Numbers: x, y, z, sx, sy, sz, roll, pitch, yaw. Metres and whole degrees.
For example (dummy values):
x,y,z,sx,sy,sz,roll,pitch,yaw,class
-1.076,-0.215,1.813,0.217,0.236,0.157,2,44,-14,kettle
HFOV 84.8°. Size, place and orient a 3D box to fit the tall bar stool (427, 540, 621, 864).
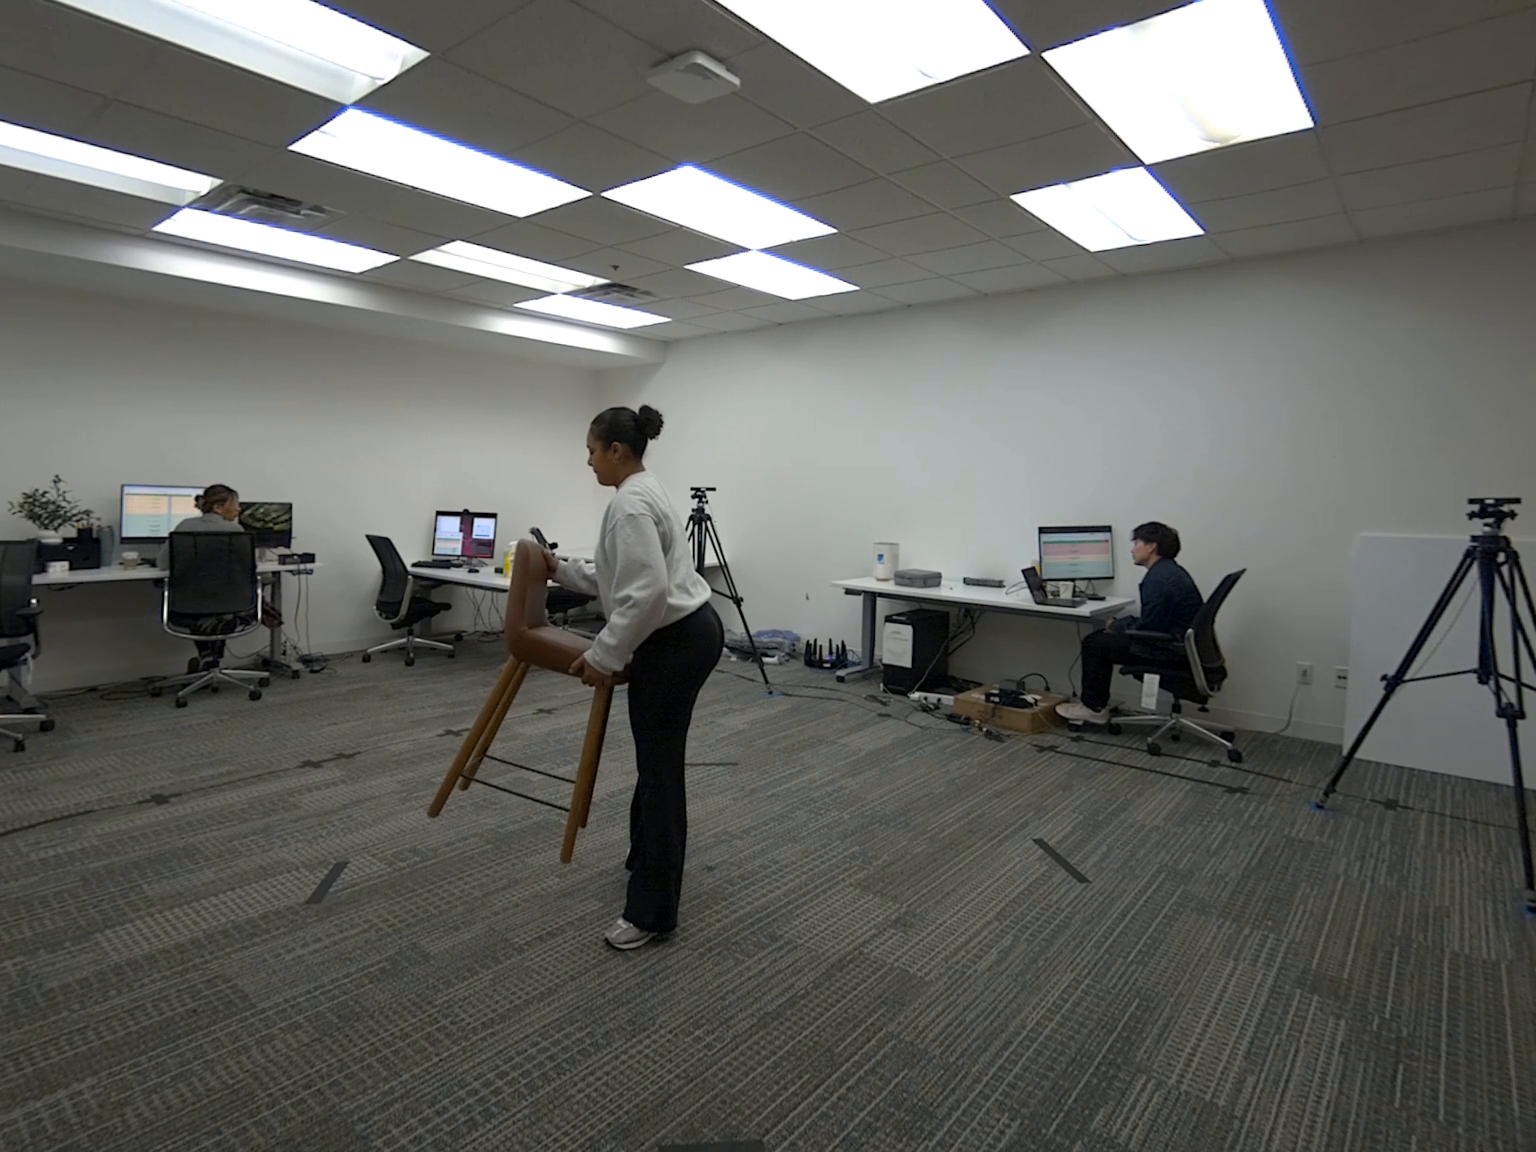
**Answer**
x,y,z,sx,sy,sz,roll,pitch,yaw,class
-0.707,0.379,2.762,0.466,0.892,0.457,16,-4,-4,tall bar stool
